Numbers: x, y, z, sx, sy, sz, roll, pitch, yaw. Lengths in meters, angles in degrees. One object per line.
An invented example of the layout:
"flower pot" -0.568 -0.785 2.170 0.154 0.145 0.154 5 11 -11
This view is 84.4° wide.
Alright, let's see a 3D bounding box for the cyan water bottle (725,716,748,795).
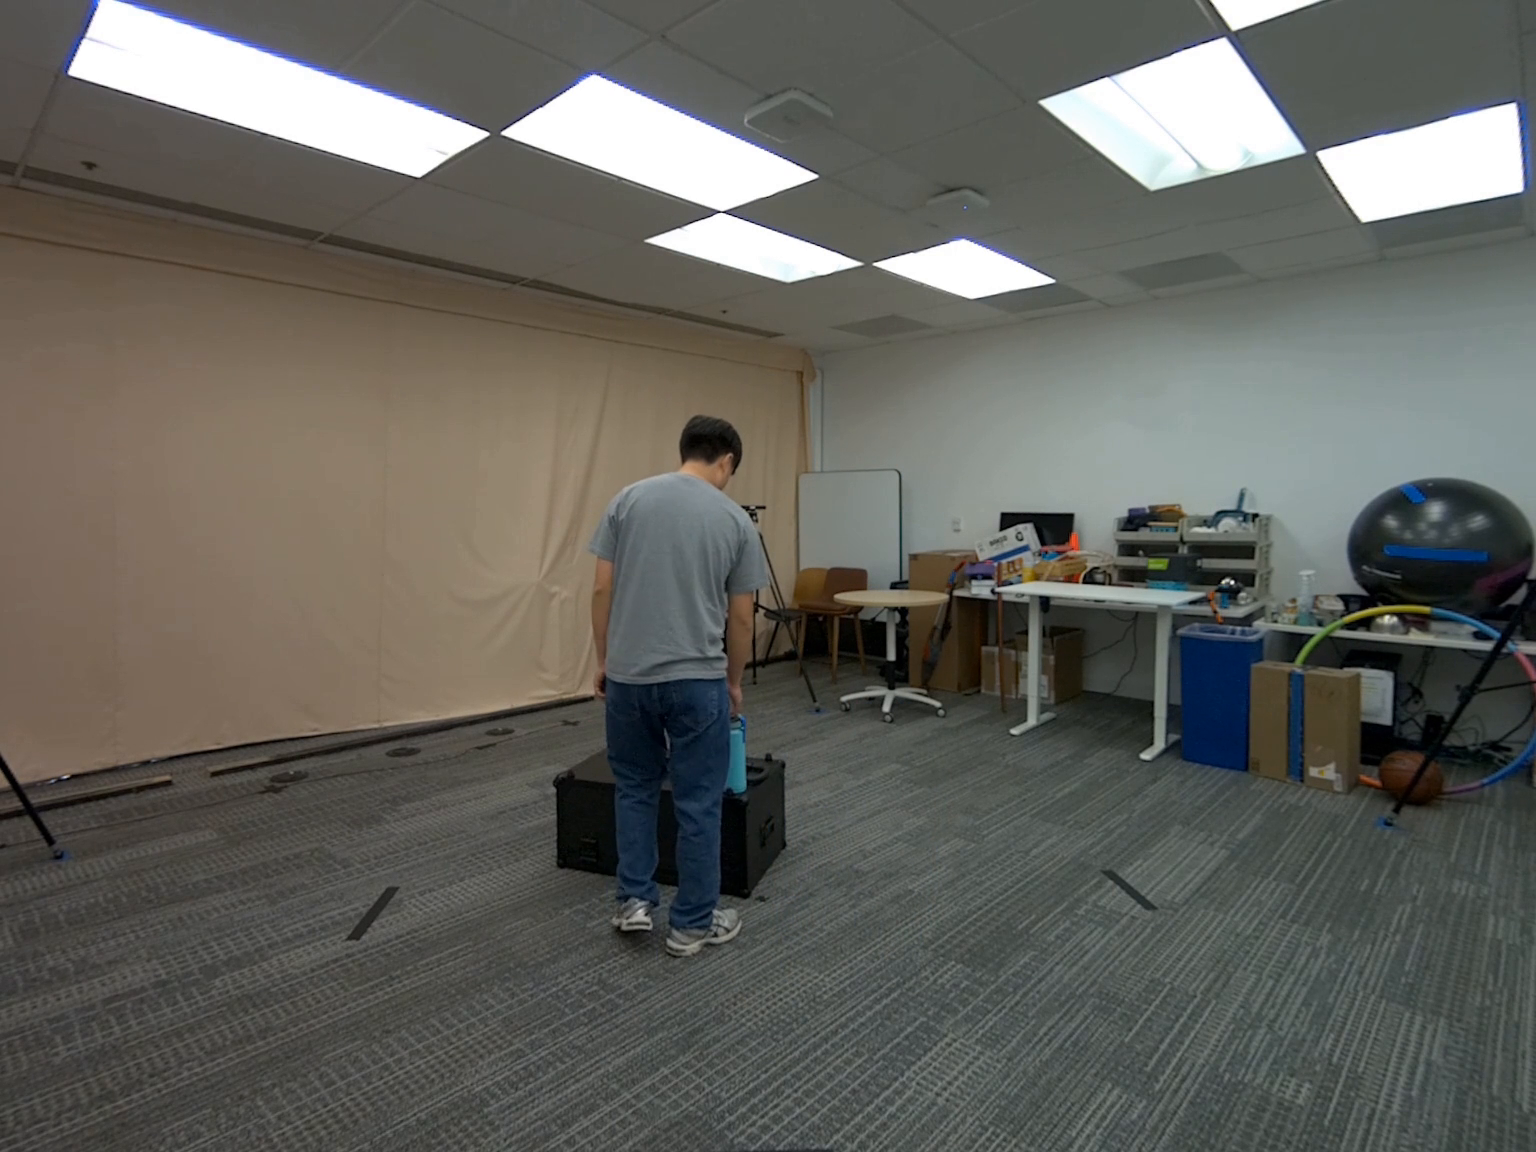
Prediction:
"cyan water bottle" -0.122 0.637 3.066 0.092 0.283 0.092 0 -1 -2
